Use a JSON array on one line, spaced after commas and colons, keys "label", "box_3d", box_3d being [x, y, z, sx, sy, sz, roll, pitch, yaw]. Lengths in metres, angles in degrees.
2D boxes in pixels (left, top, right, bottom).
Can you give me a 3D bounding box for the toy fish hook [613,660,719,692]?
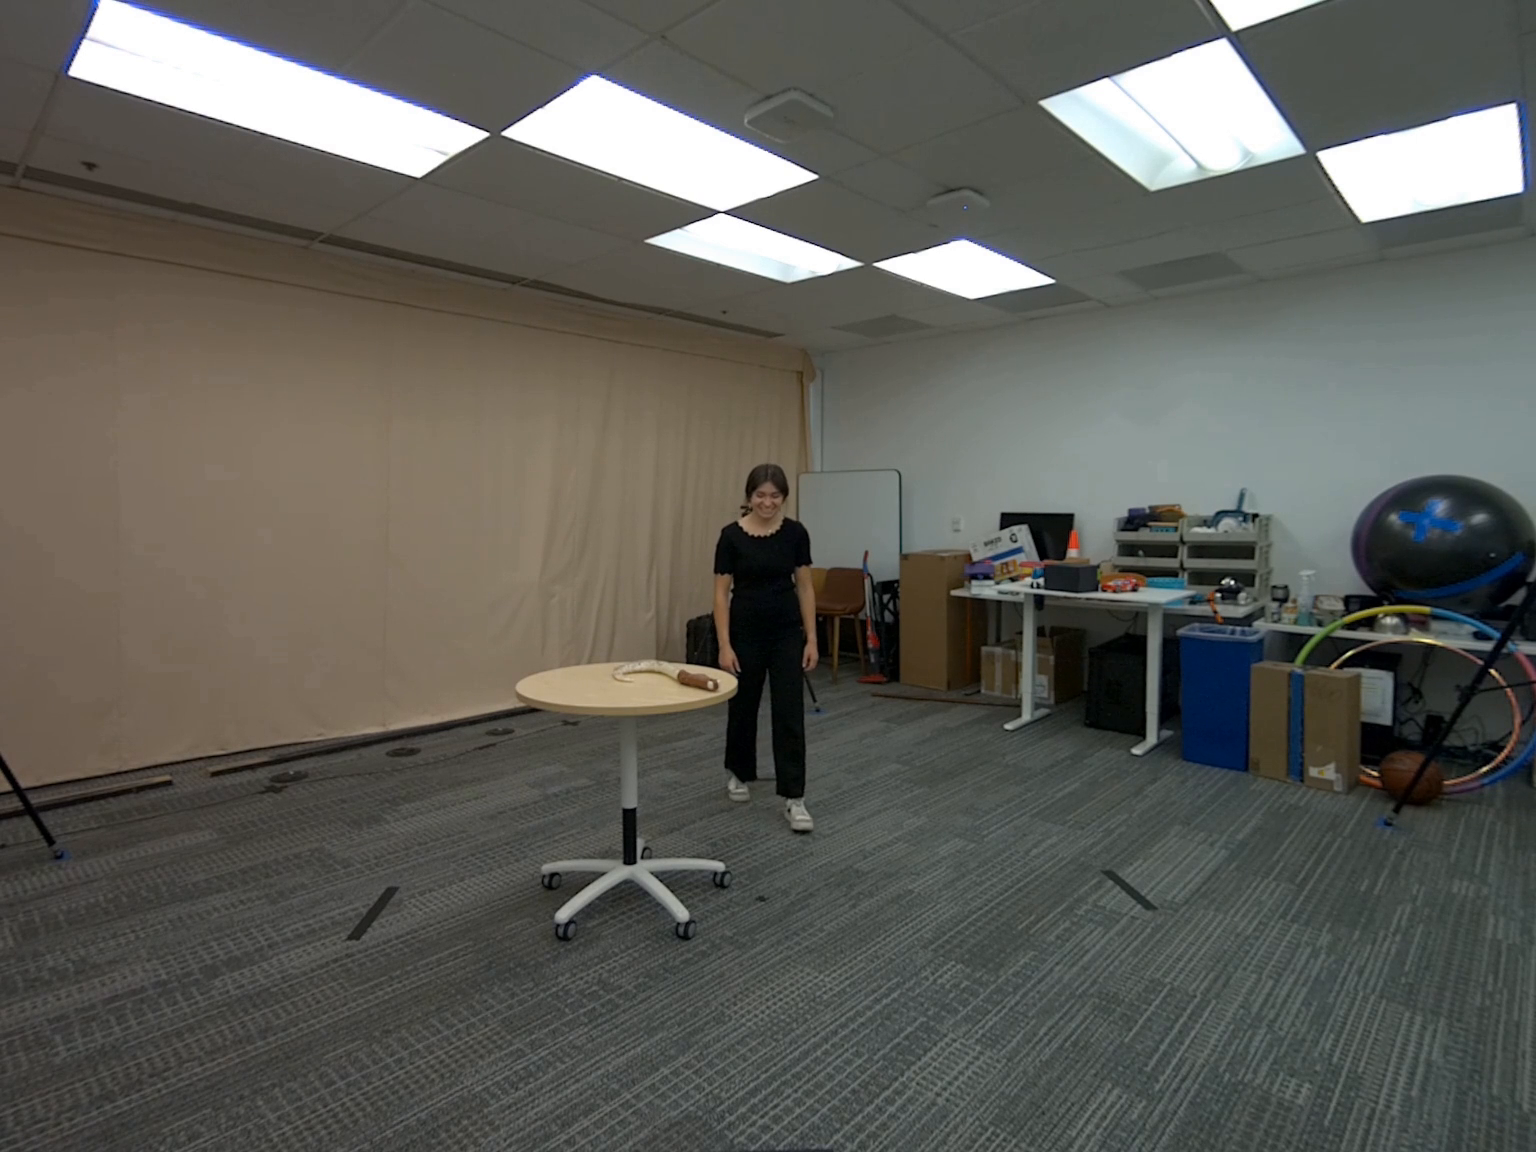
[{"label": "toy fish hook", "box_3d": [-0.363, 0.363, 2.924, 0.219, 0.048, 0.523, -15, 13, -36]}]
